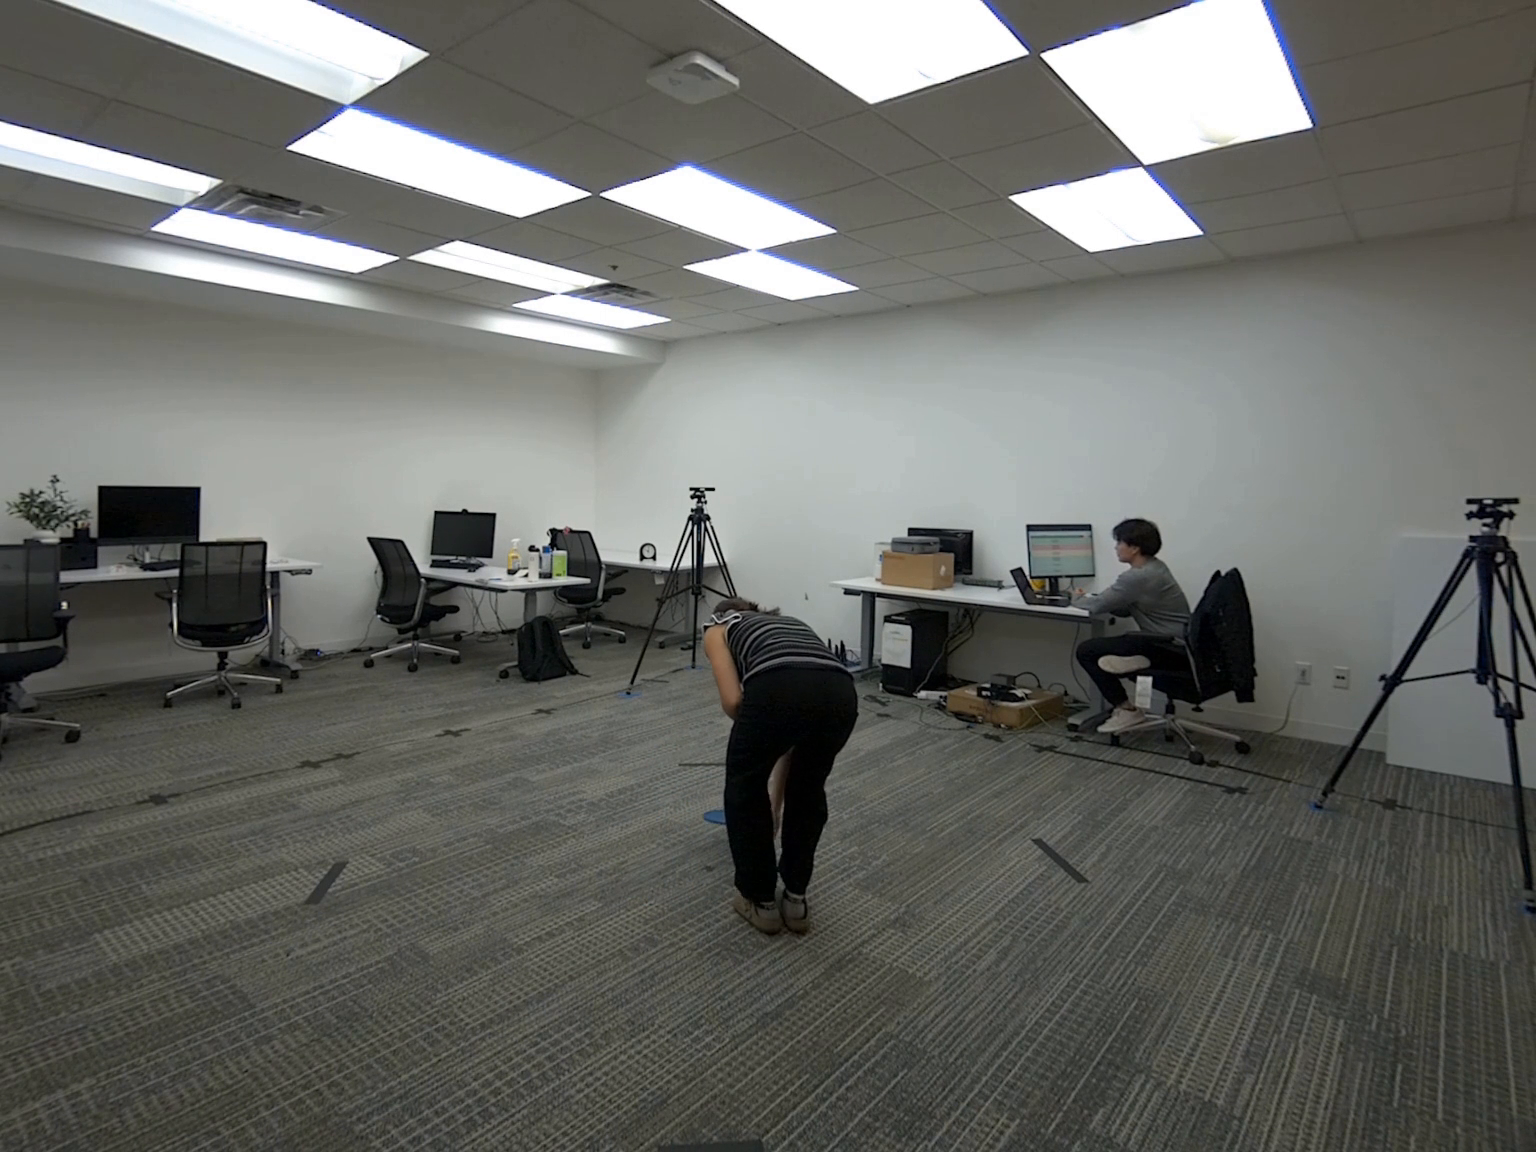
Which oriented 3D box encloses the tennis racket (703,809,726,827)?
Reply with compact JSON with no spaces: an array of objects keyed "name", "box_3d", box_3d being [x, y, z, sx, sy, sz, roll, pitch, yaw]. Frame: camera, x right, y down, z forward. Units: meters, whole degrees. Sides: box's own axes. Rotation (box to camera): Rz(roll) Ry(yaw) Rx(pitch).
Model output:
[{"name":"tennis racket","box_3d":[-0.125,0.930,3.217,0.208,0.032,0.441,3,-5,-25]}]
